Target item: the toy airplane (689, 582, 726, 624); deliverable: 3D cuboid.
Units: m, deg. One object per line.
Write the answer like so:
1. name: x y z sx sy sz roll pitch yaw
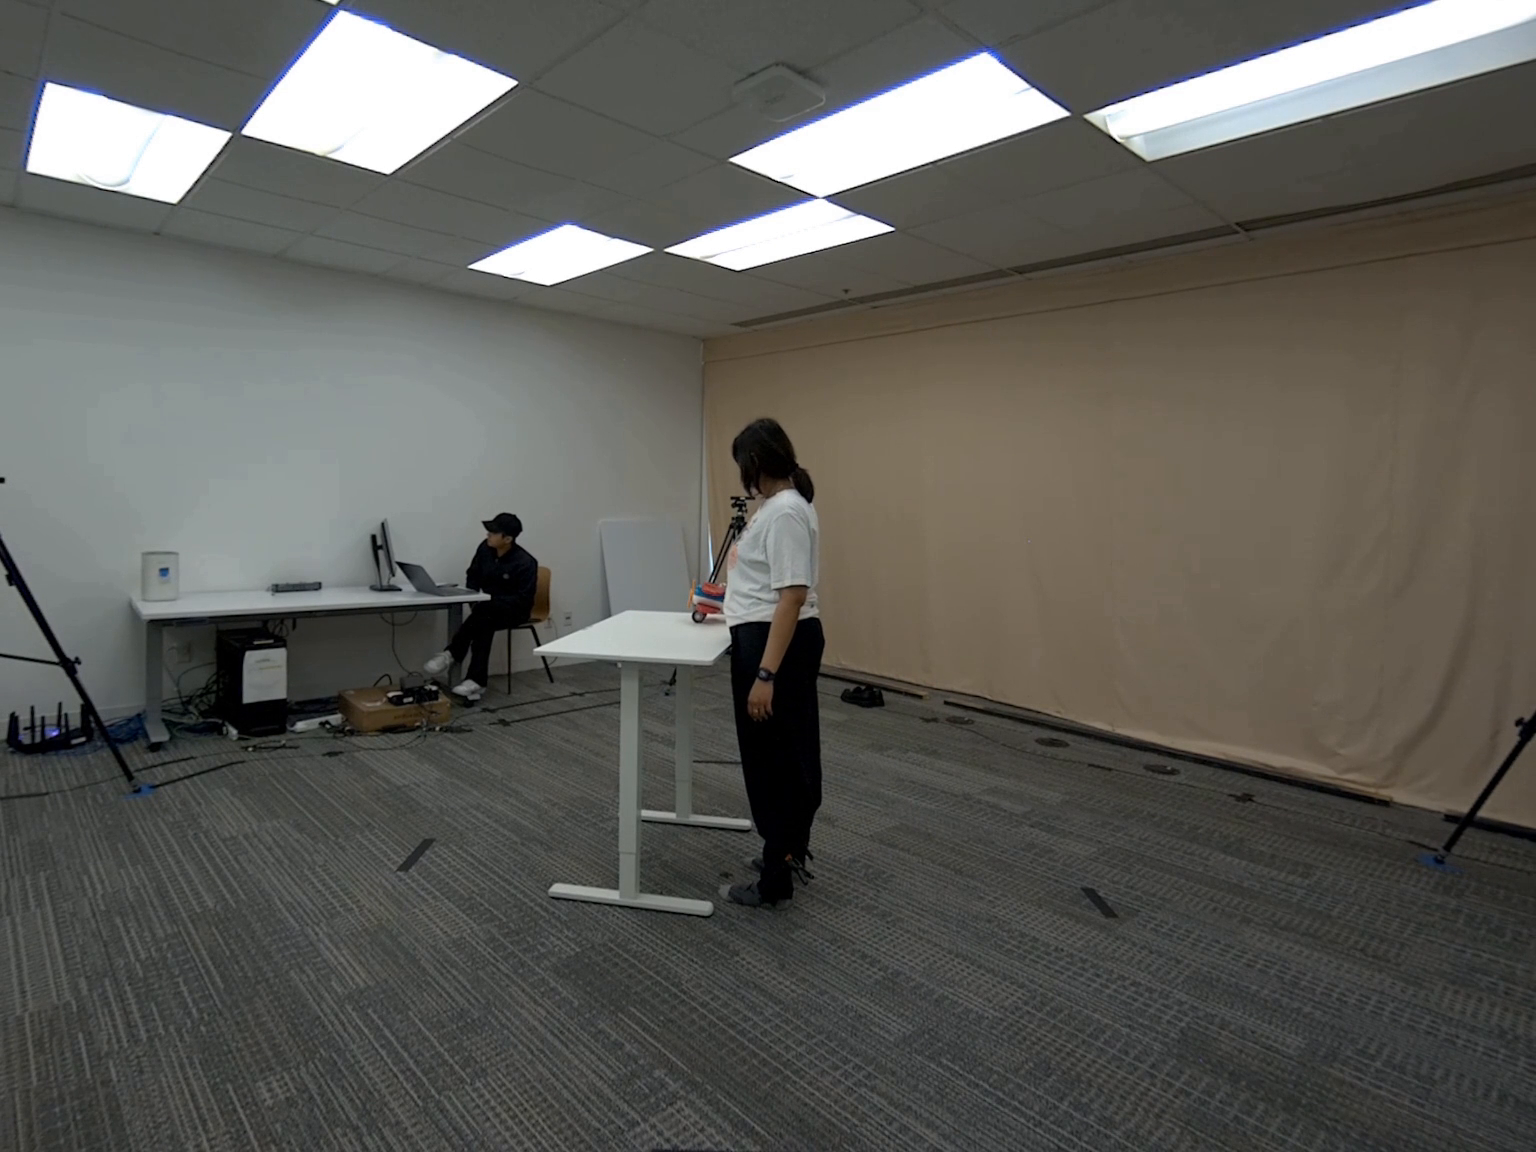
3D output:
1. toy airplane: -0.208 0.108 3.455 0.255 0.156 0.256 -3 5 -25
